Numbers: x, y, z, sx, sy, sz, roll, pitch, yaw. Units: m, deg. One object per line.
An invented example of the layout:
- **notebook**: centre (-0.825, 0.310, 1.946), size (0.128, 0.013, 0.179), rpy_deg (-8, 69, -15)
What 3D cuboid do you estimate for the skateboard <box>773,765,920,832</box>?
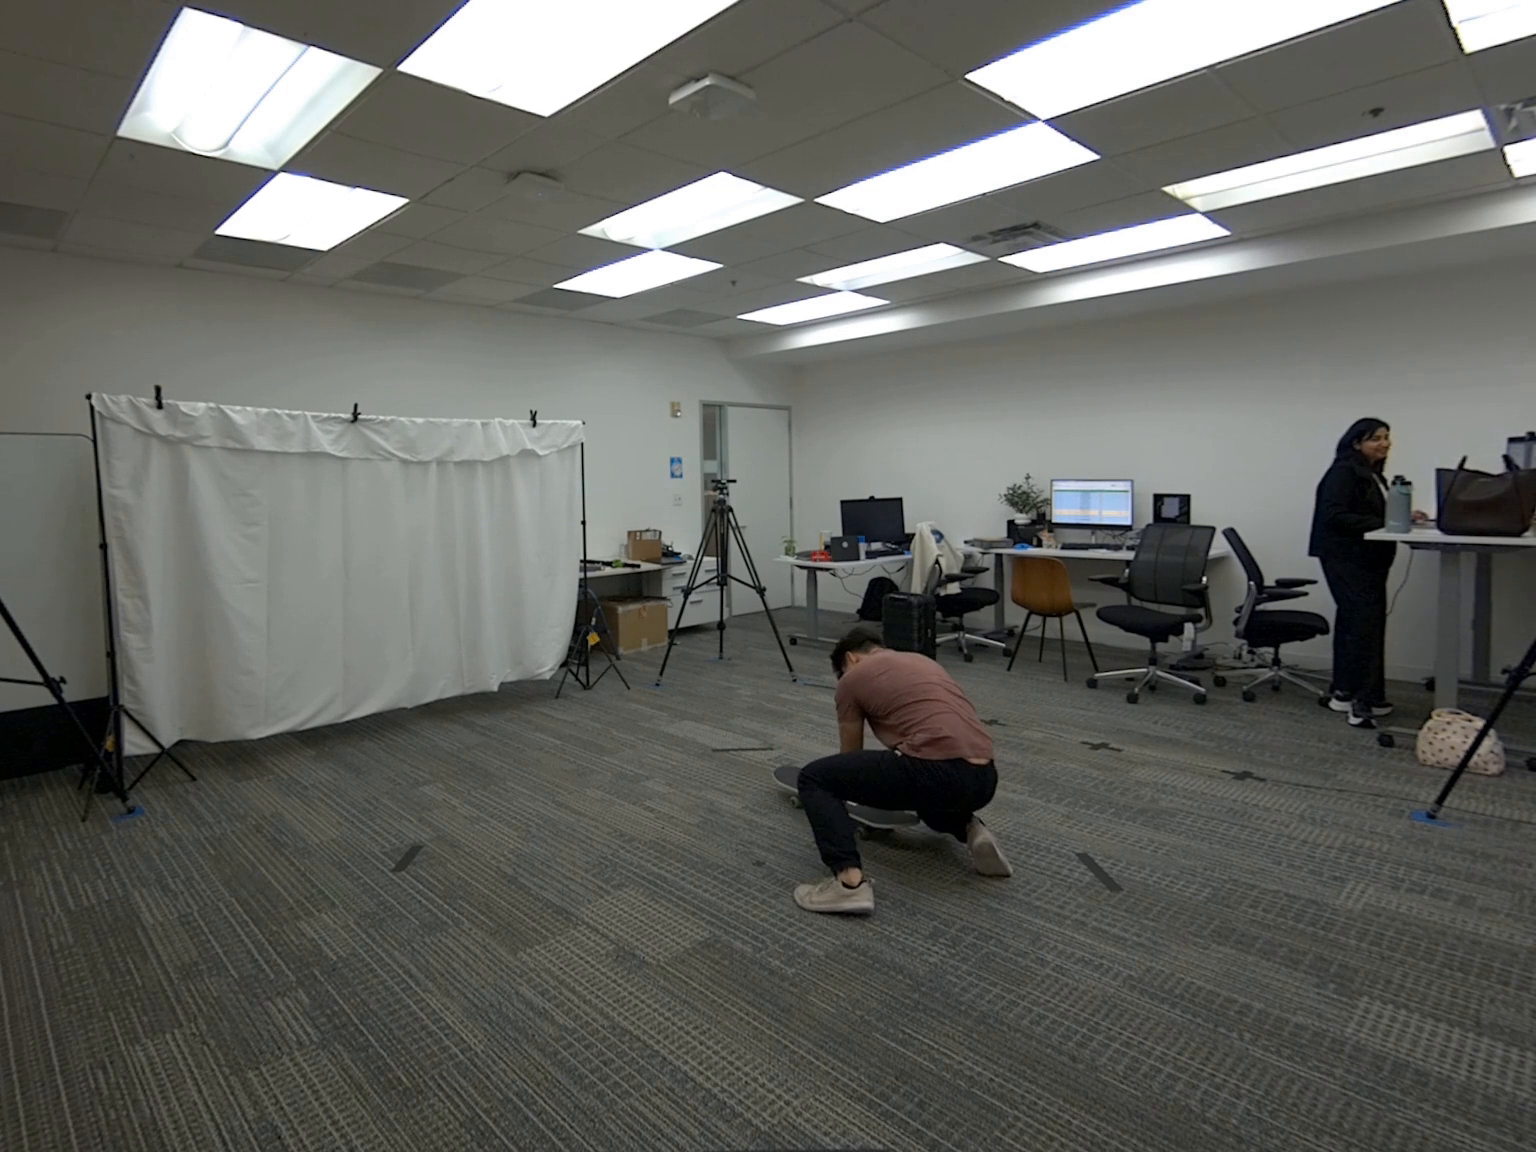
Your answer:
- **skateboard**: centre (0.302, 0.945, 3.512), size (0.188, 0.110, 0.809), rpy_deg (-4, 8, -35)
